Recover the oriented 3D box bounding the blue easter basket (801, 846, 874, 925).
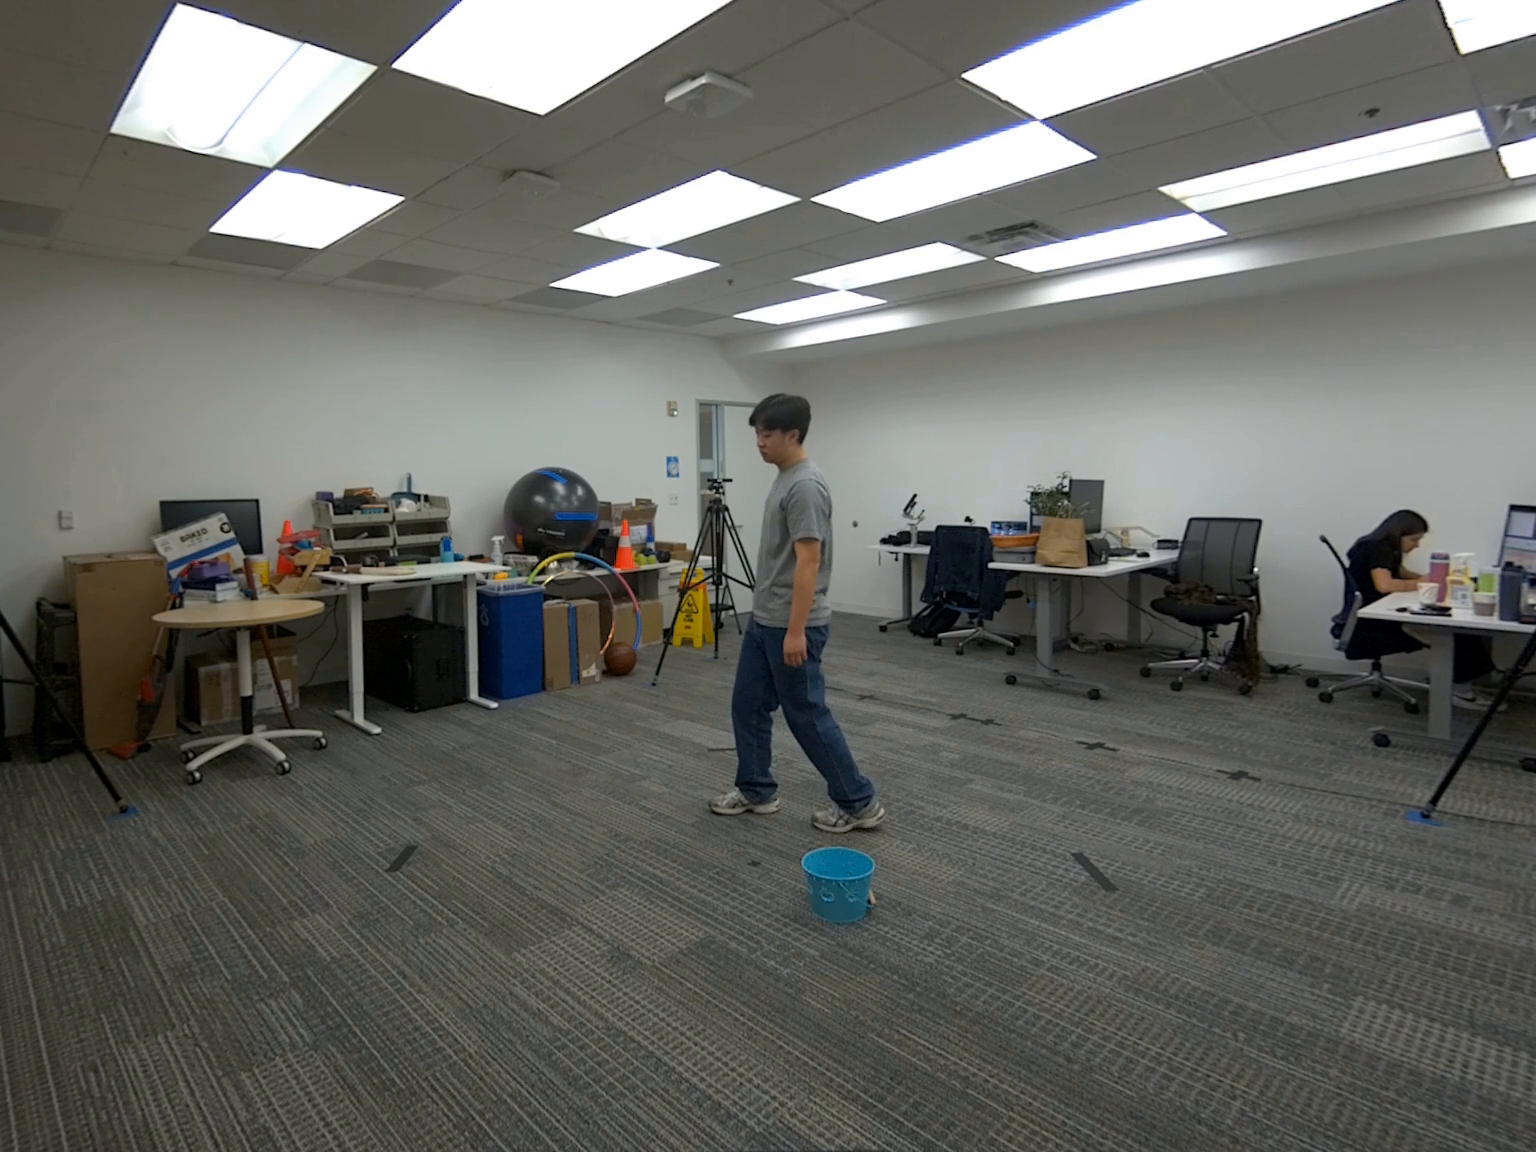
[{"bbox_3d":[0.234,1.007,2.760,0.243,0.155,0.245,-2,6,-2],"label":"blue easter basket"}]
